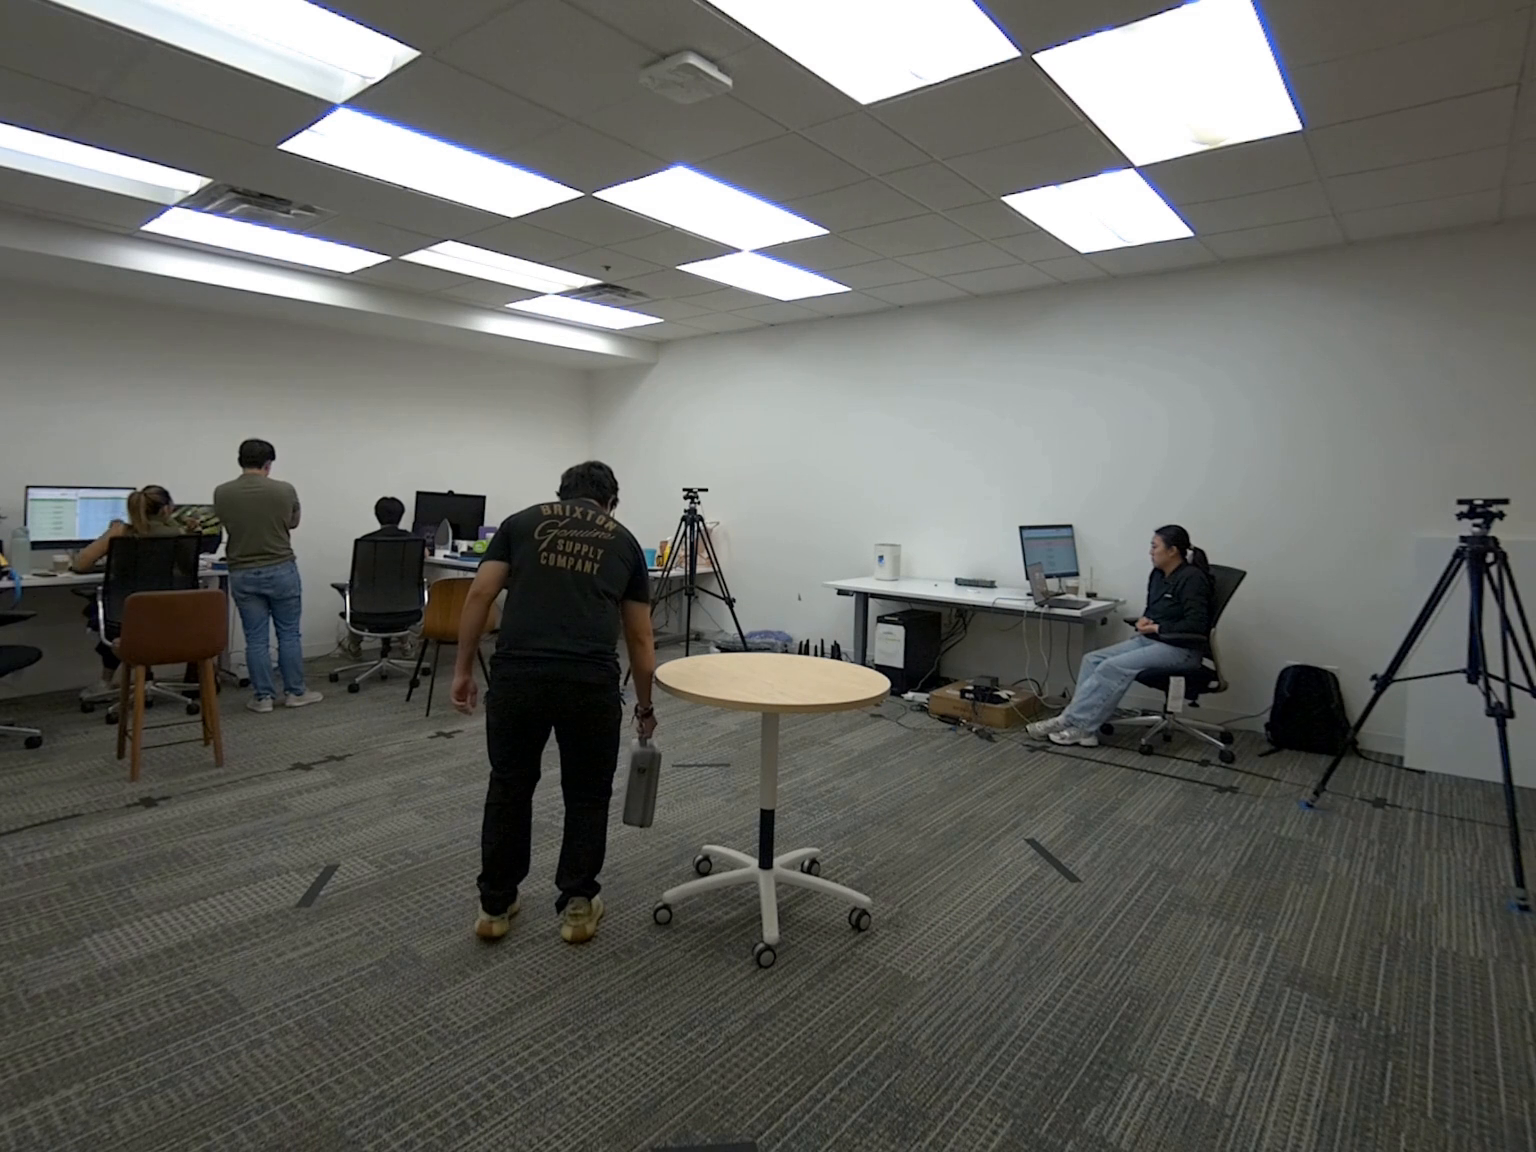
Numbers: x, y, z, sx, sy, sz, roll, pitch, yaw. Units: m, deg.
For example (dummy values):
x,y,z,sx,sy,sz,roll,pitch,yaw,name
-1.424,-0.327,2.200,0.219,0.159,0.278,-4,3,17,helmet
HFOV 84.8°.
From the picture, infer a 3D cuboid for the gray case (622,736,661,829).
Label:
x,y,z,sx,sy,sz,roll,pitch,yaw,name
-0.444,0.694,2.881,0.104,0.261,0.258,4,-3,-7,gray case
